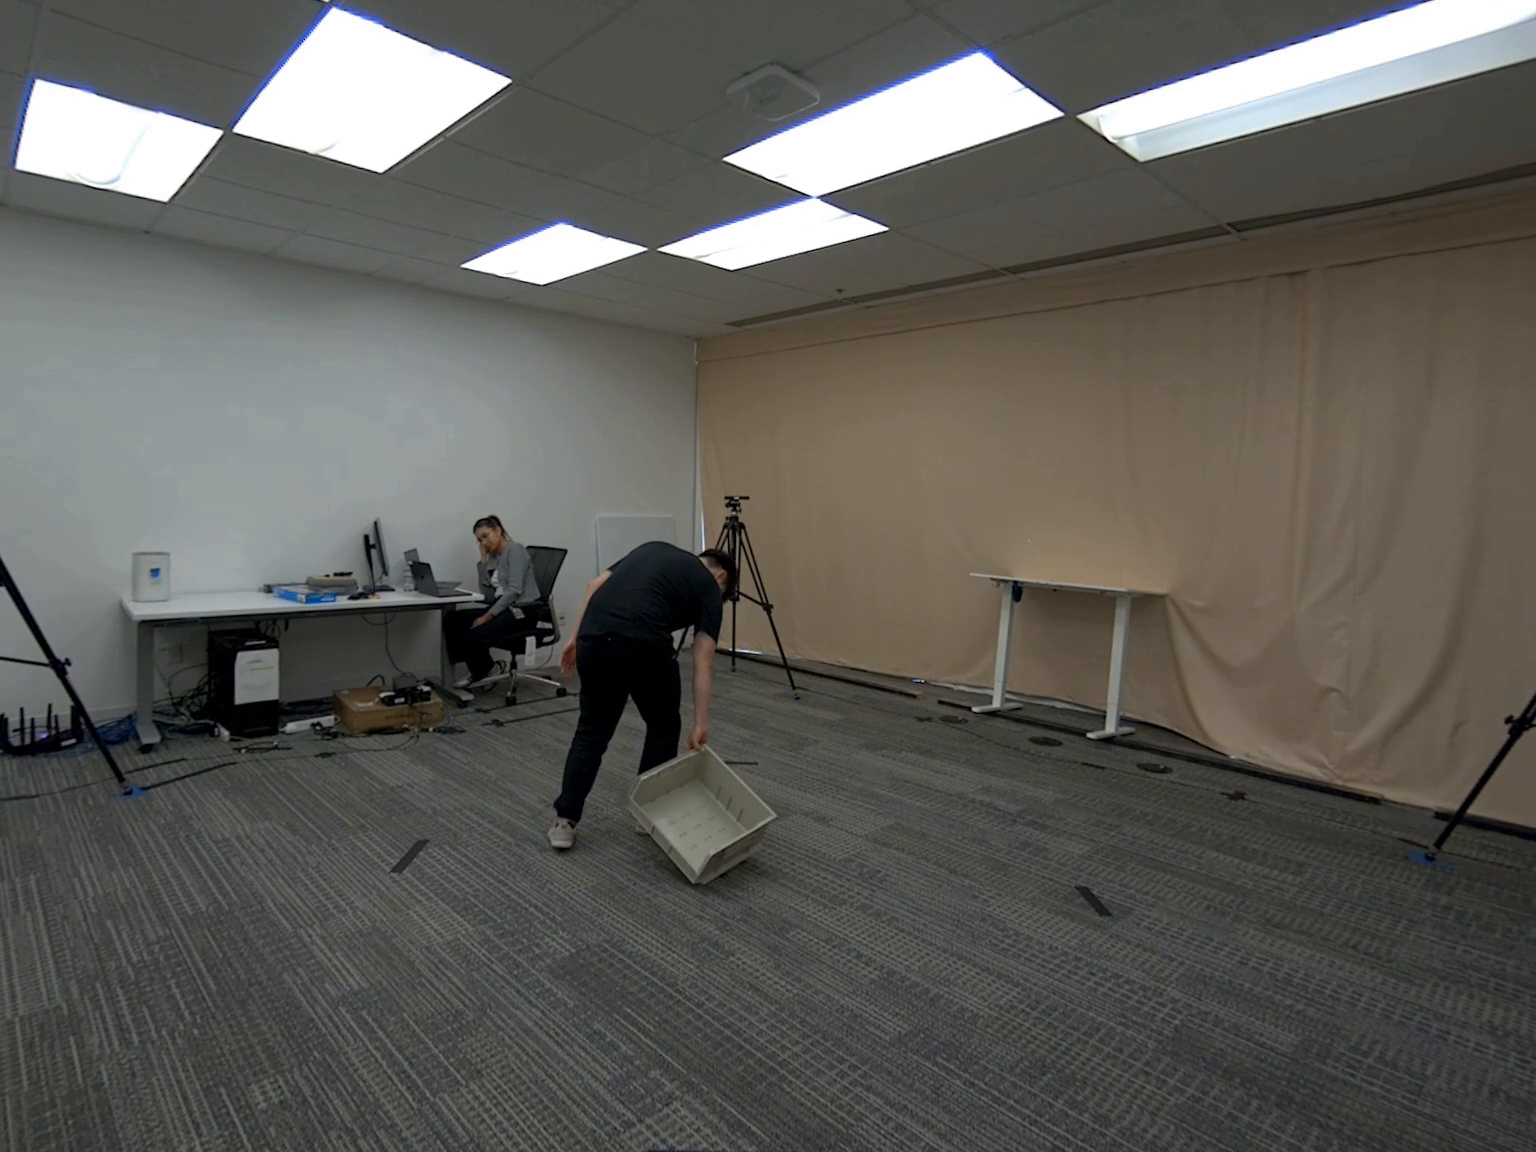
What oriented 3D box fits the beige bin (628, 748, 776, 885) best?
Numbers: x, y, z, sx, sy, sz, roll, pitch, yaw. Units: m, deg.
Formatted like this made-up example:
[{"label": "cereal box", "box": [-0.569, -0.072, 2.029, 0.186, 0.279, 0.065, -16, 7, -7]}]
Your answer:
[{"label": "beige bin", "box": [-0.263, 0.904, 3.184, 0.371, 0.187, 0.435, -15, 42, -44]}]
